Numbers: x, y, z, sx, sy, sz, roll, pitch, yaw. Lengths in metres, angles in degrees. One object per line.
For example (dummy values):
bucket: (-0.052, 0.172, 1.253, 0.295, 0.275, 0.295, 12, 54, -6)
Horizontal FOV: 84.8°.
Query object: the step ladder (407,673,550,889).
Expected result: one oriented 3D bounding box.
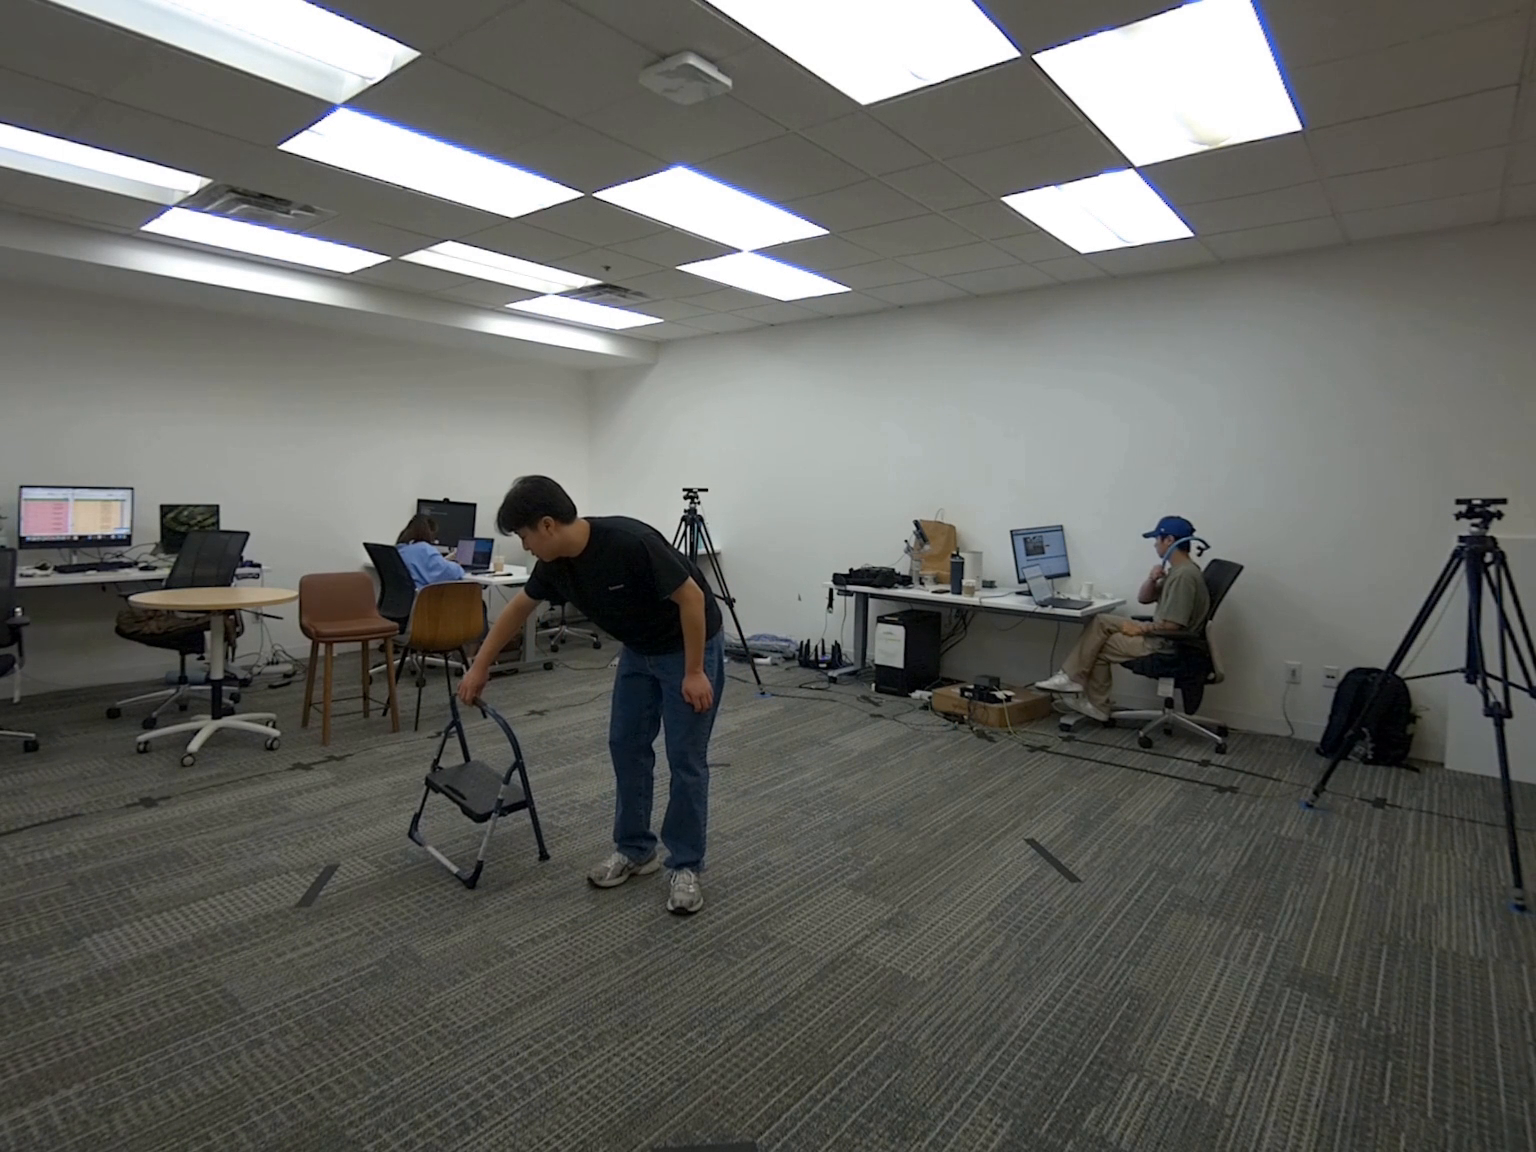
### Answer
step ladder: (-1.052, 0.723, 3.123, 0.446, 0.601, 0.339, 16, 12, 35)
